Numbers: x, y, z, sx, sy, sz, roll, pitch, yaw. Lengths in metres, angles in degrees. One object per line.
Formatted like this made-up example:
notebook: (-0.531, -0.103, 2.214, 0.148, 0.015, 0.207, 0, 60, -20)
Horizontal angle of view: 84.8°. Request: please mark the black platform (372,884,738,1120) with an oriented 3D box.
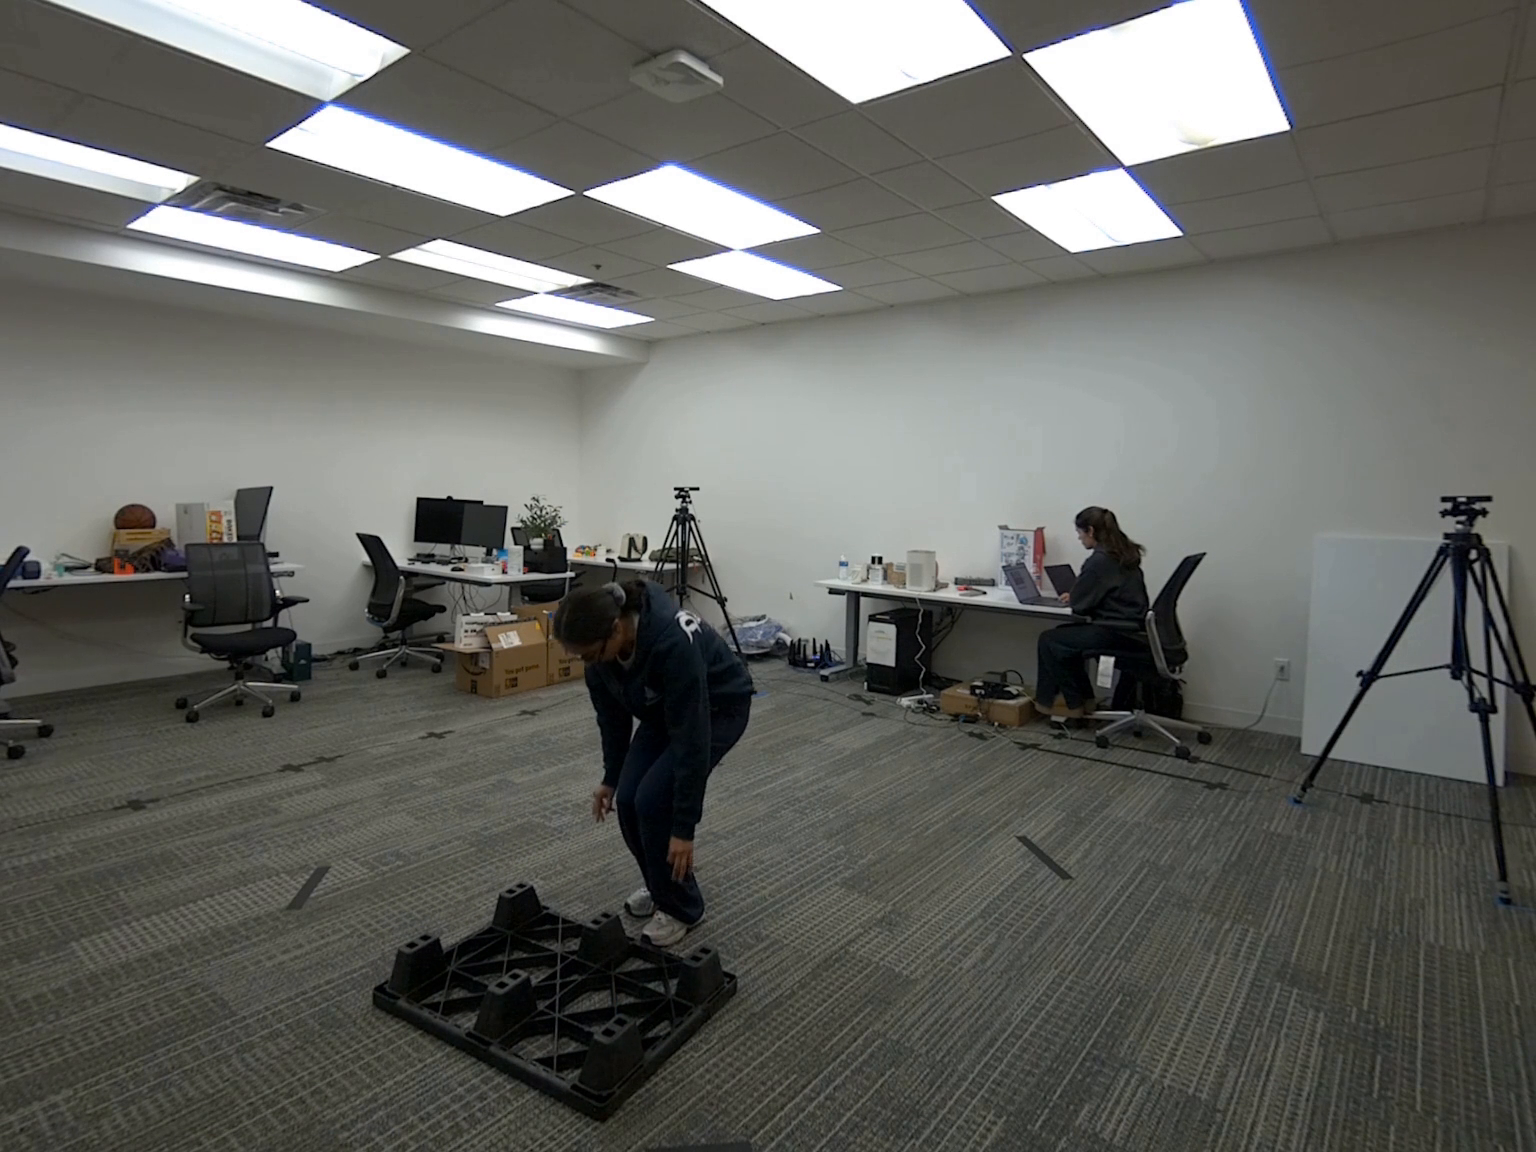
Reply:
black platform: (-0.577, 1.080, 2.310, 0.829, 0.143, 0.590, 4, 7, 30)
